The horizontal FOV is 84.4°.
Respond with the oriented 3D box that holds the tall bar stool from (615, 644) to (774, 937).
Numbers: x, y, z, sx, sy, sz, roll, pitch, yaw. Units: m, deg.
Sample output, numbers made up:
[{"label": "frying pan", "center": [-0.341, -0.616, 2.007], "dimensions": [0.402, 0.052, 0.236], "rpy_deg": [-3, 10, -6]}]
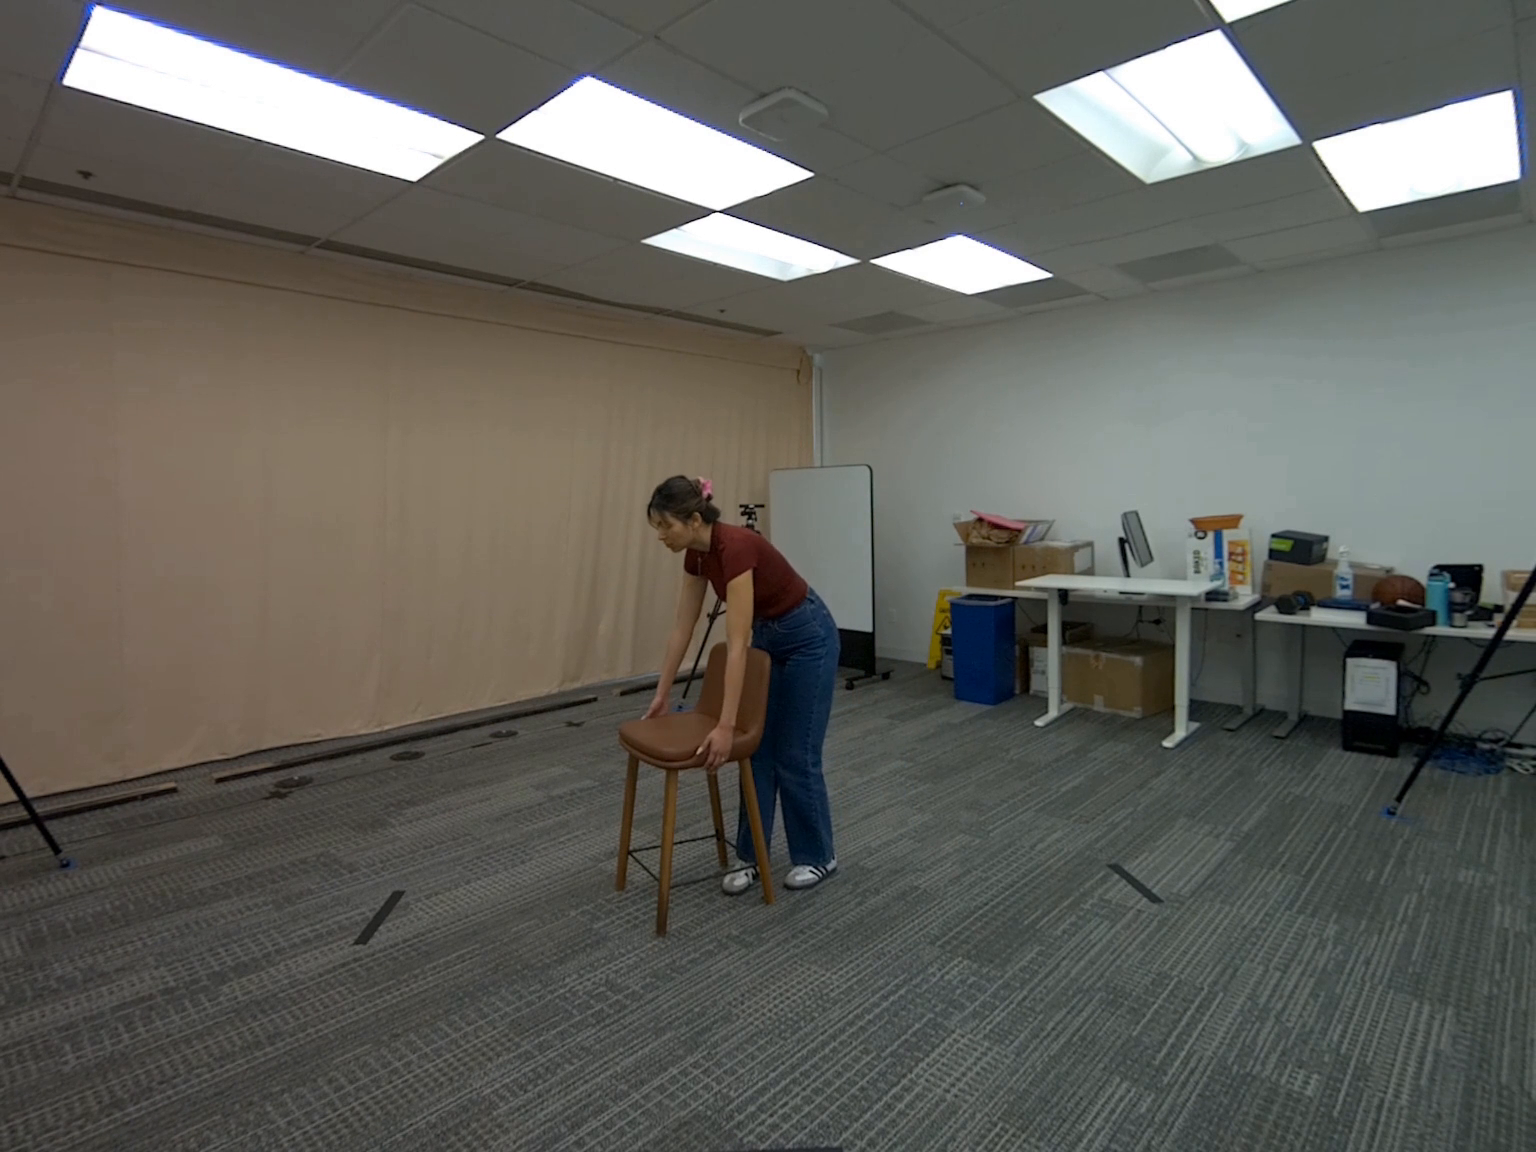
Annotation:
[{"label": "tall bar stool", "center": [-0.259, 0.708, 2.978], "dimensions": [0.455, 0.888, 0.469], "rpy_deg": [-1, 3, -29]}]
